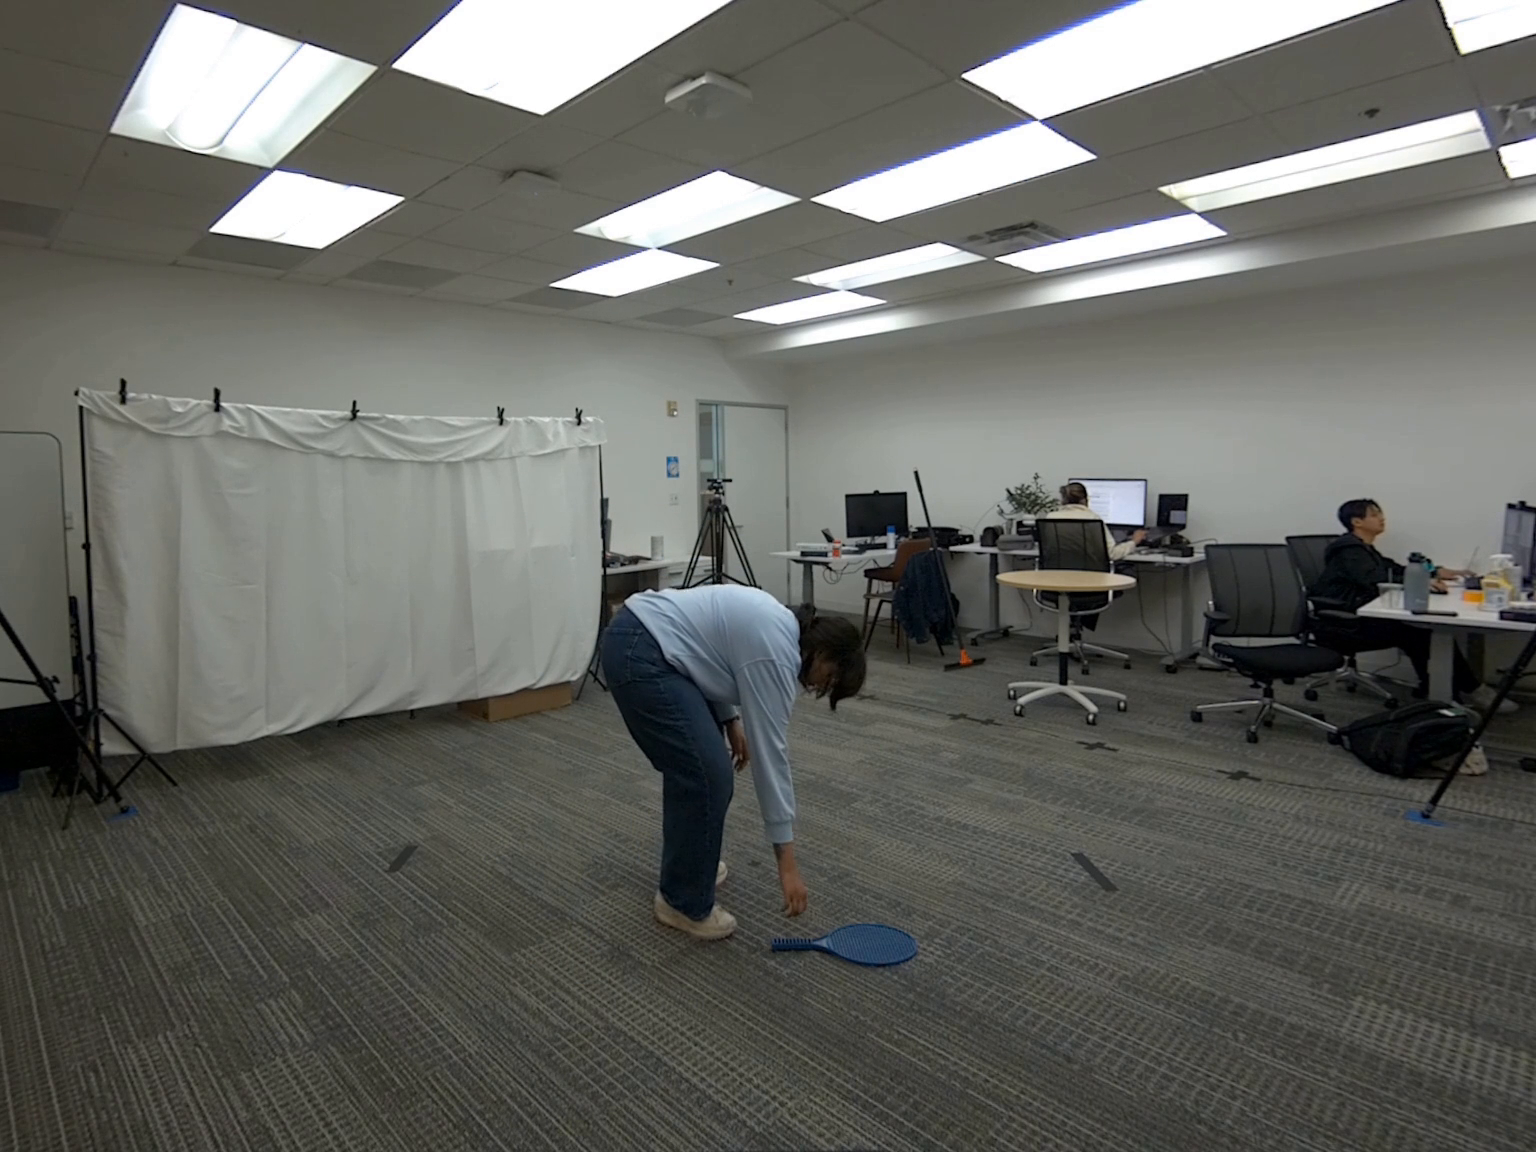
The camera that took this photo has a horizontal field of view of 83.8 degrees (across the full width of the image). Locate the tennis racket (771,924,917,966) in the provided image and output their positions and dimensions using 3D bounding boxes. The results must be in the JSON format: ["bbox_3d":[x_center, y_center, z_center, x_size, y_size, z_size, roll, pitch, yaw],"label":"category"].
[{"bbox_3d":[0.228,1.086,2.542,0.431,0.031,0.215,-1,6,-4],"label":"tennis racket"}]
